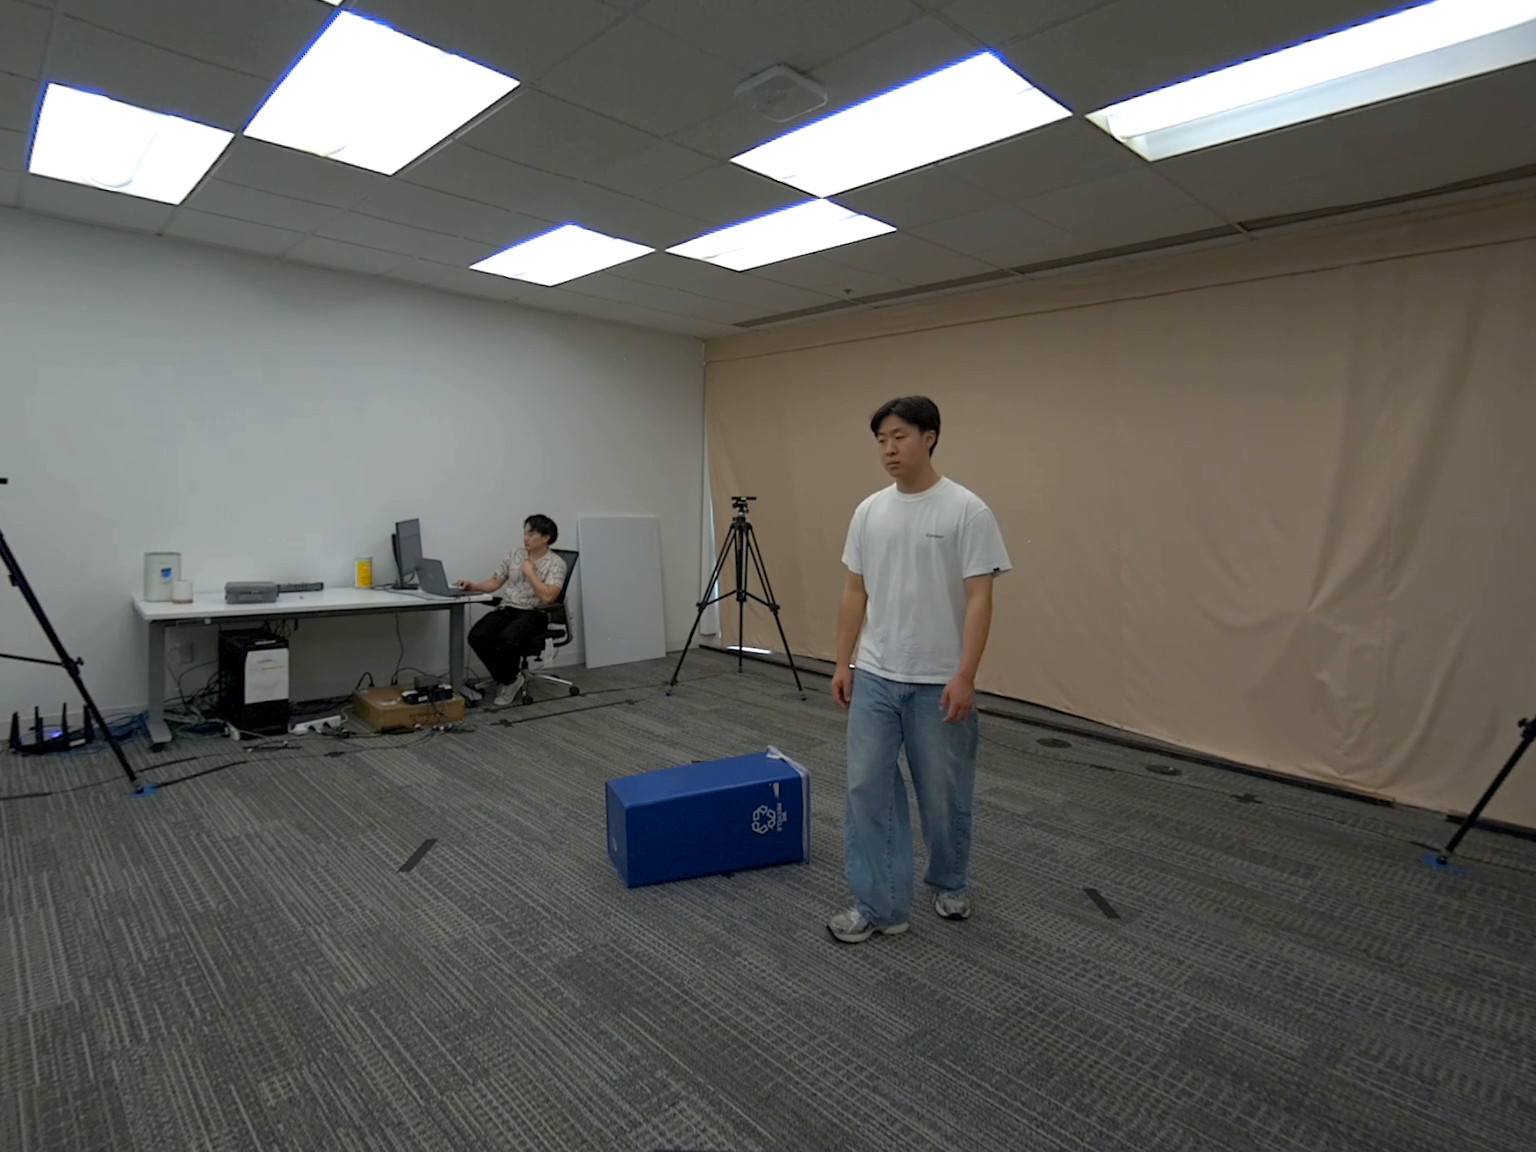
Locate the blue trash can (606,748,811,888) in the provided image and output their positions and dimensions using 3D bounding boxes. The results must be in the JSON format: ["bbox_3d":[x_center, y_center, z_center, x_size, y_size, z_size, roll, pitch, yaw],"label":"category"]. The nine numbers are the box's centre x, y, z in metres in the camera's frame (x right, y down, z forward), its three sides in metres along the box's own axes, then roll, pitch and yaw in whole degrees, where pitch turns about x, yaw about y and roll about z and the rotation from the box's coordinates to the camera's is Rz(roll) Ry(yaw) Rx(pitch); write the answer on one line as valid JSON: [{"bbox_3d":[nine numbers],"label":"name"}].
[{"bbox_3d":[-0.240,0.928,3.229,0.702,0.377,0.381,-4,6,-23],"label":"blue trash can"}]
